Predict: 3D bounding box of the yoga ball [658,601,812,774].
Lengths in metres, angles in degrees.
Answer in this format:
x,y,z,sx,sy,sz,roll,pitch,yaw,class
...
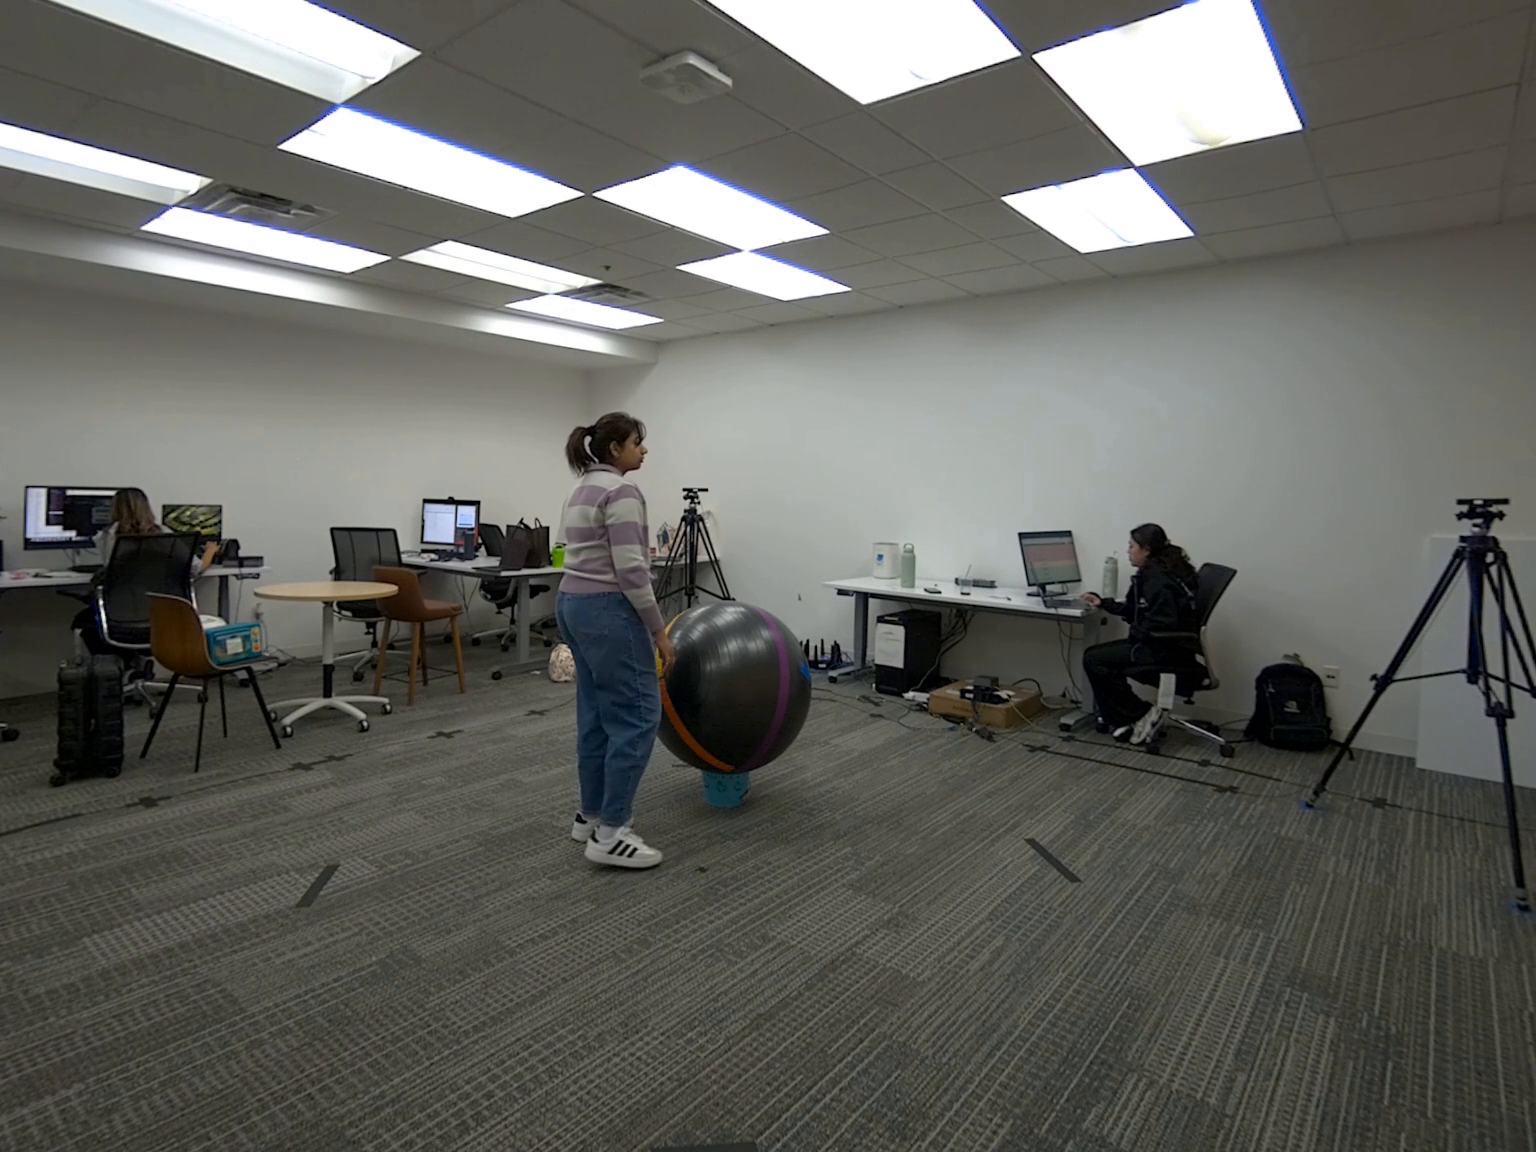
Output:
x,y,z,sx,sy,sz,roll,pitch,yaw,class
-0.187,0.495,3.814,0.757,0.756,0.761,1,4,-2,yoga ball
